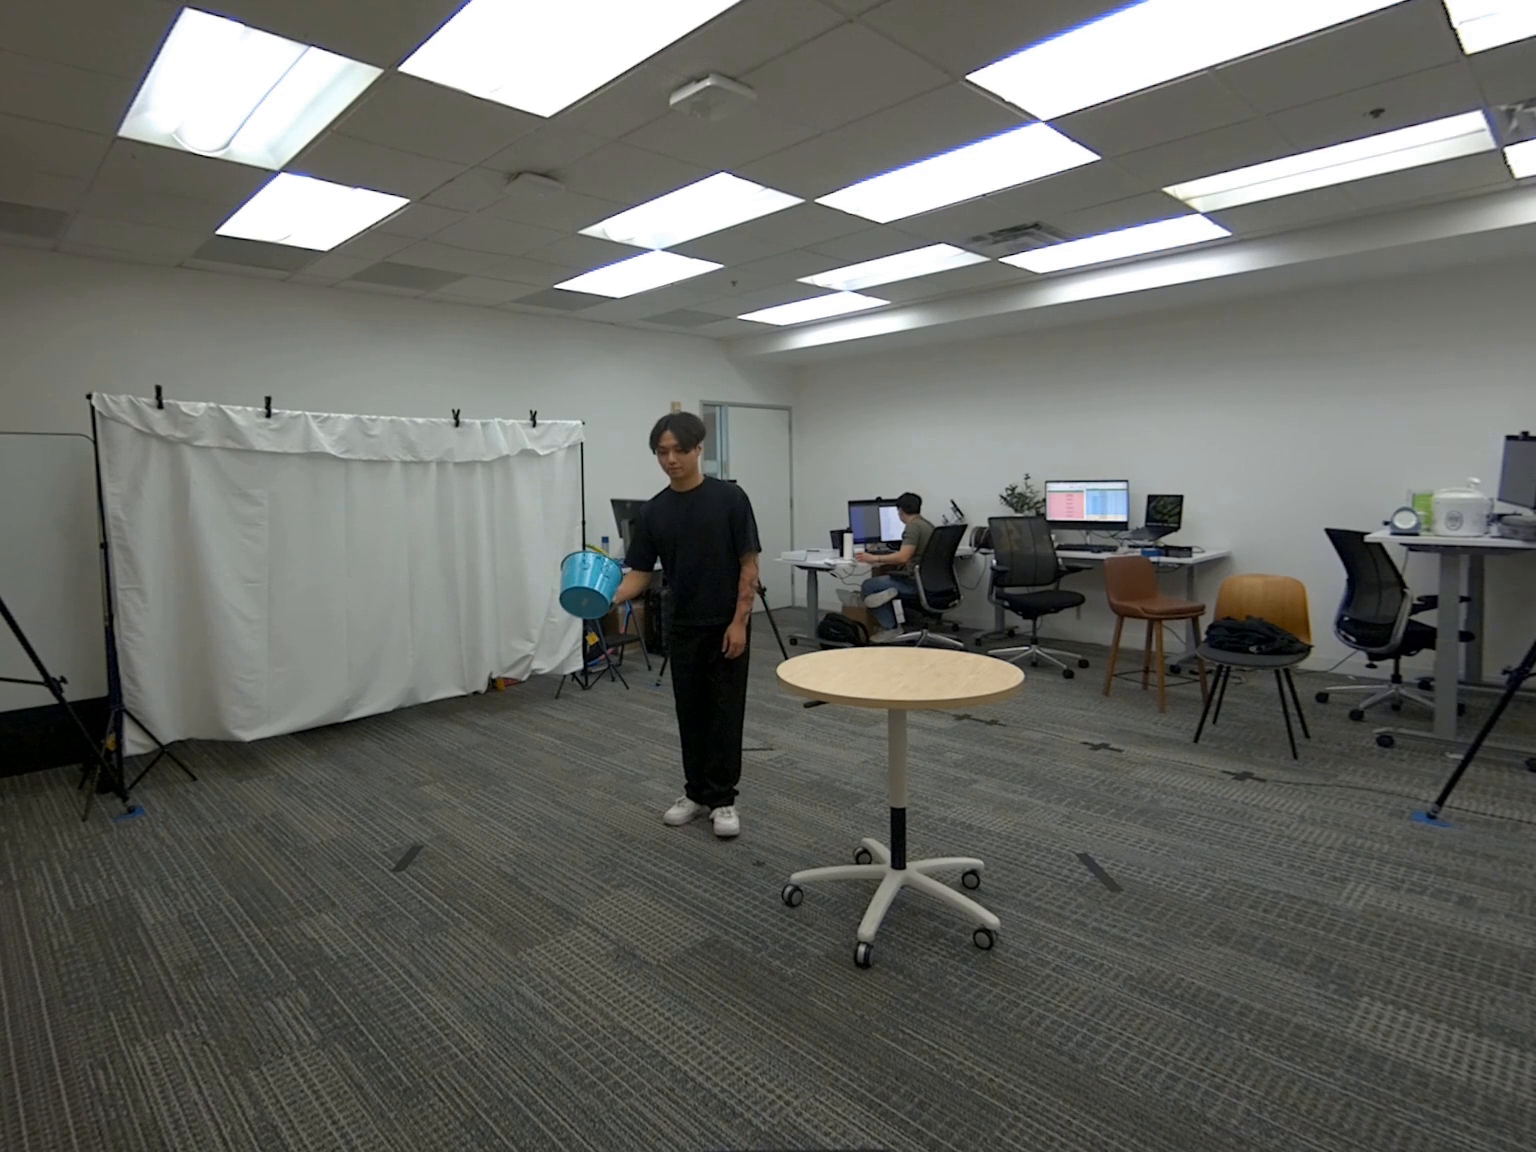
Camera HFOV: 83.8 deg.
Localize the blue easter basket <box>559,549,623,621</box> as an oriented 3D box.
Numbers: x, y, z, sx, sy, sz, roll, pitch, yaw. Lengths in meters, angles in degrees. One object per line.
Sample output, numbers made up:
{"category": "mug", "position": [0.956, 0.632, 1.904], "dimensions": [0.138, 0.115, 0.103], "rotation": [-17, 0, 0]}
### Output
{"category": "blue easter basket", "position": [-0.654, 0.042, 3.111], "dimensions": [0.245, 0.236, 0.159], "rotation": [0, 47, 7]}
